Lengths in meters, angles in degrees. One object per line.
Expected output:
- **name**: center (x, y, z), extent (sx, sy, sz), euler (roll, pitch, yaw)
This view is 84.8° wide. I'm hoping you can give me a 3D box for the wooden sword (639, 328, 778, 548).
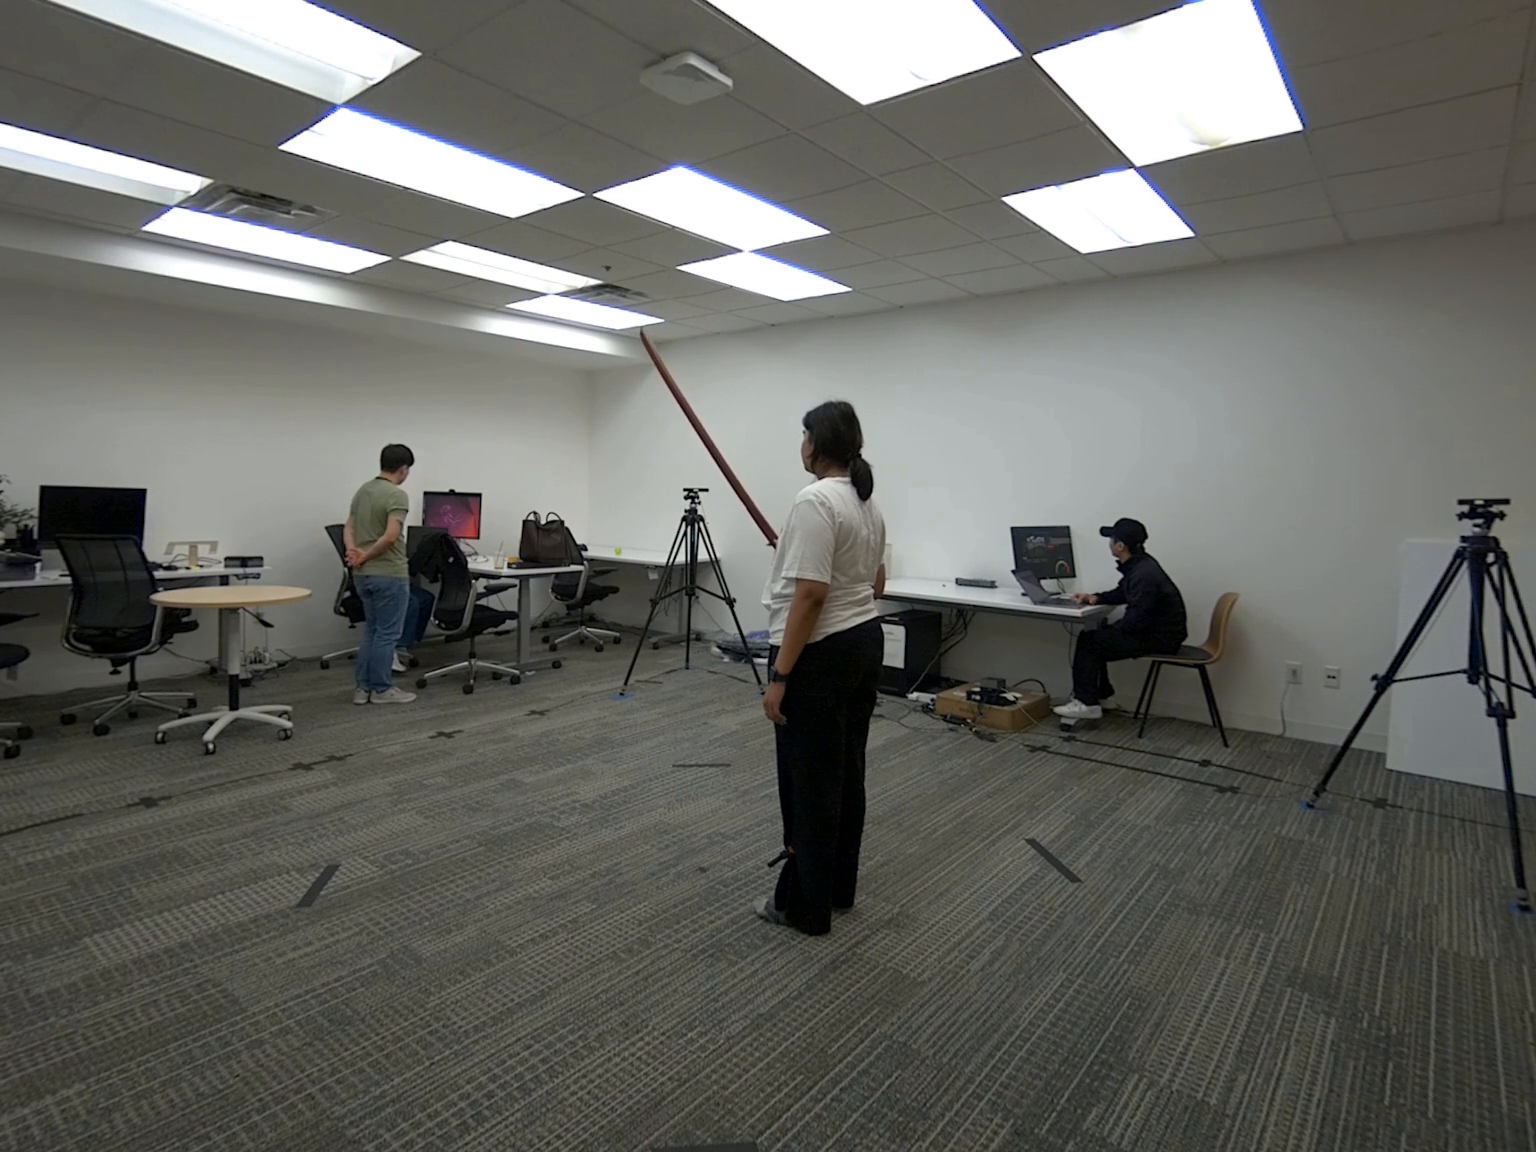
- **wooden sword**: center (-0.213, -0.451, 3.040), extent (0.051, 1.034, 0.024), euler (-30, -7, -25)
